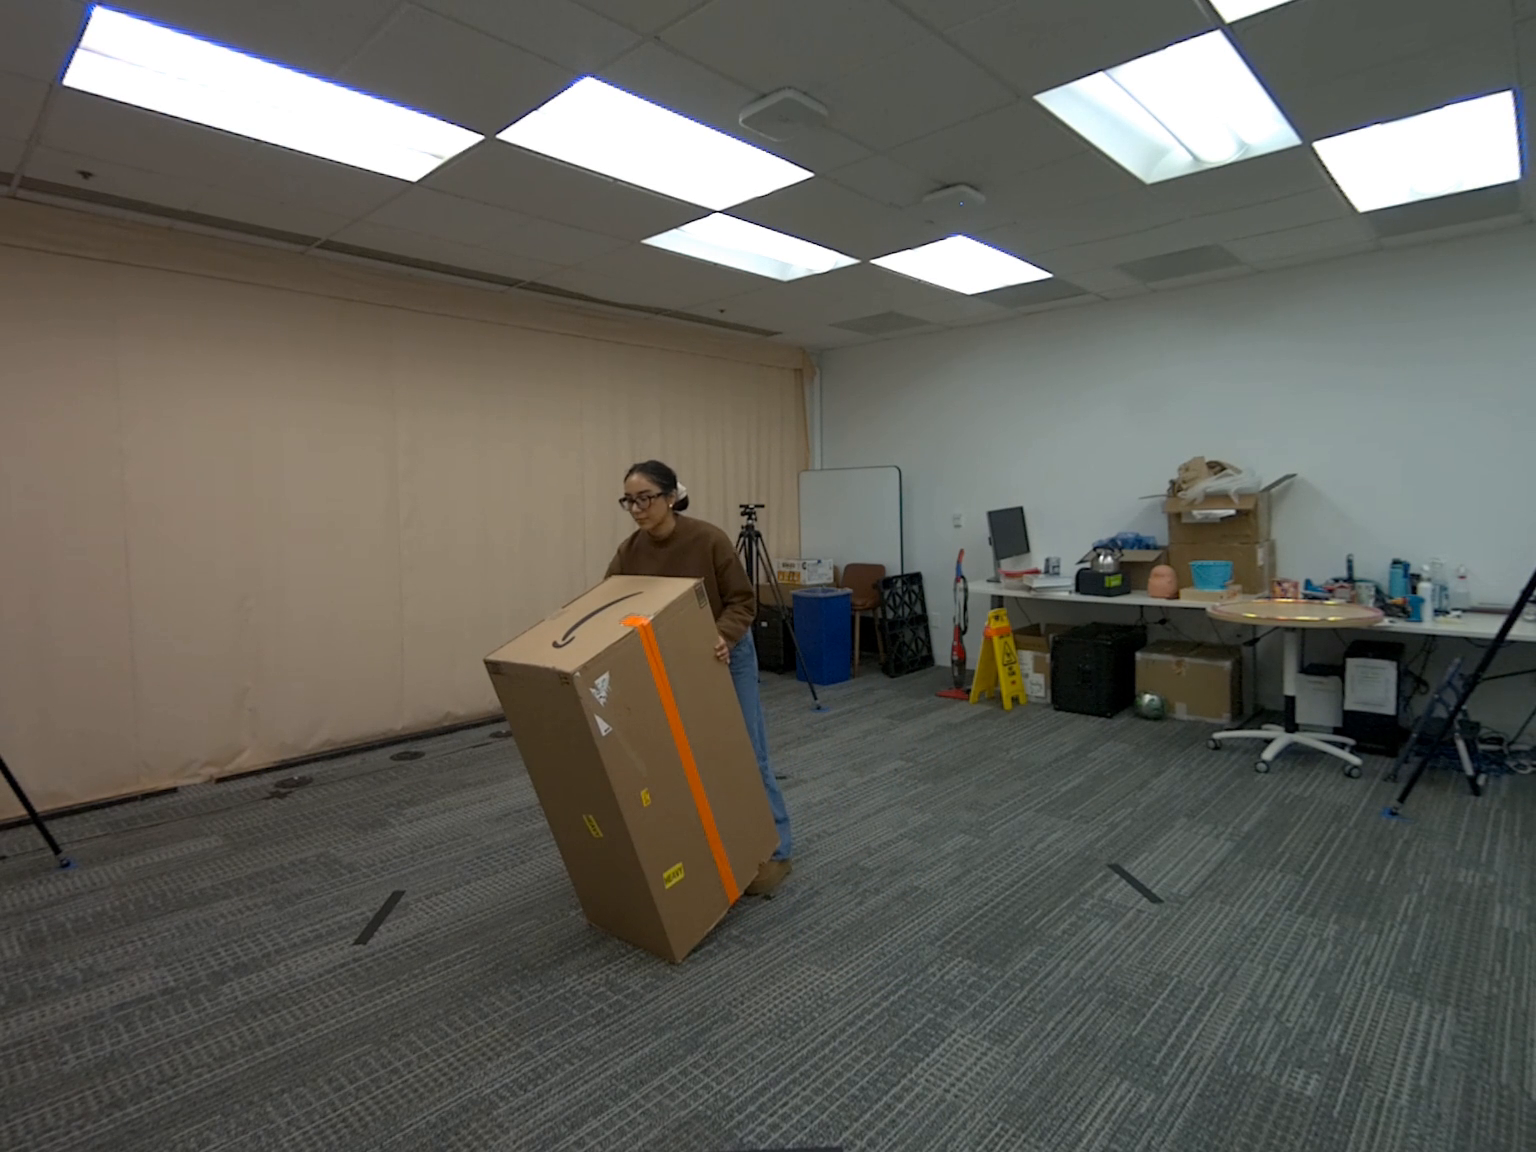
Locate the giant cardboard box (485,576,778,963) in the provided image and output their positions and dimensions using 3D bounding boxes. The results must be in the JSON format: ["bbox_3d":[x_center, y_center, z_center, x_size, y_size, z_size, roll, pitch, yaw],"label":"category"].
[{"bbox_3d":[-0.405,0.595,2.718,0.440,1.010,0.568,1,24,40],"label":"giant cardboard box"}]
